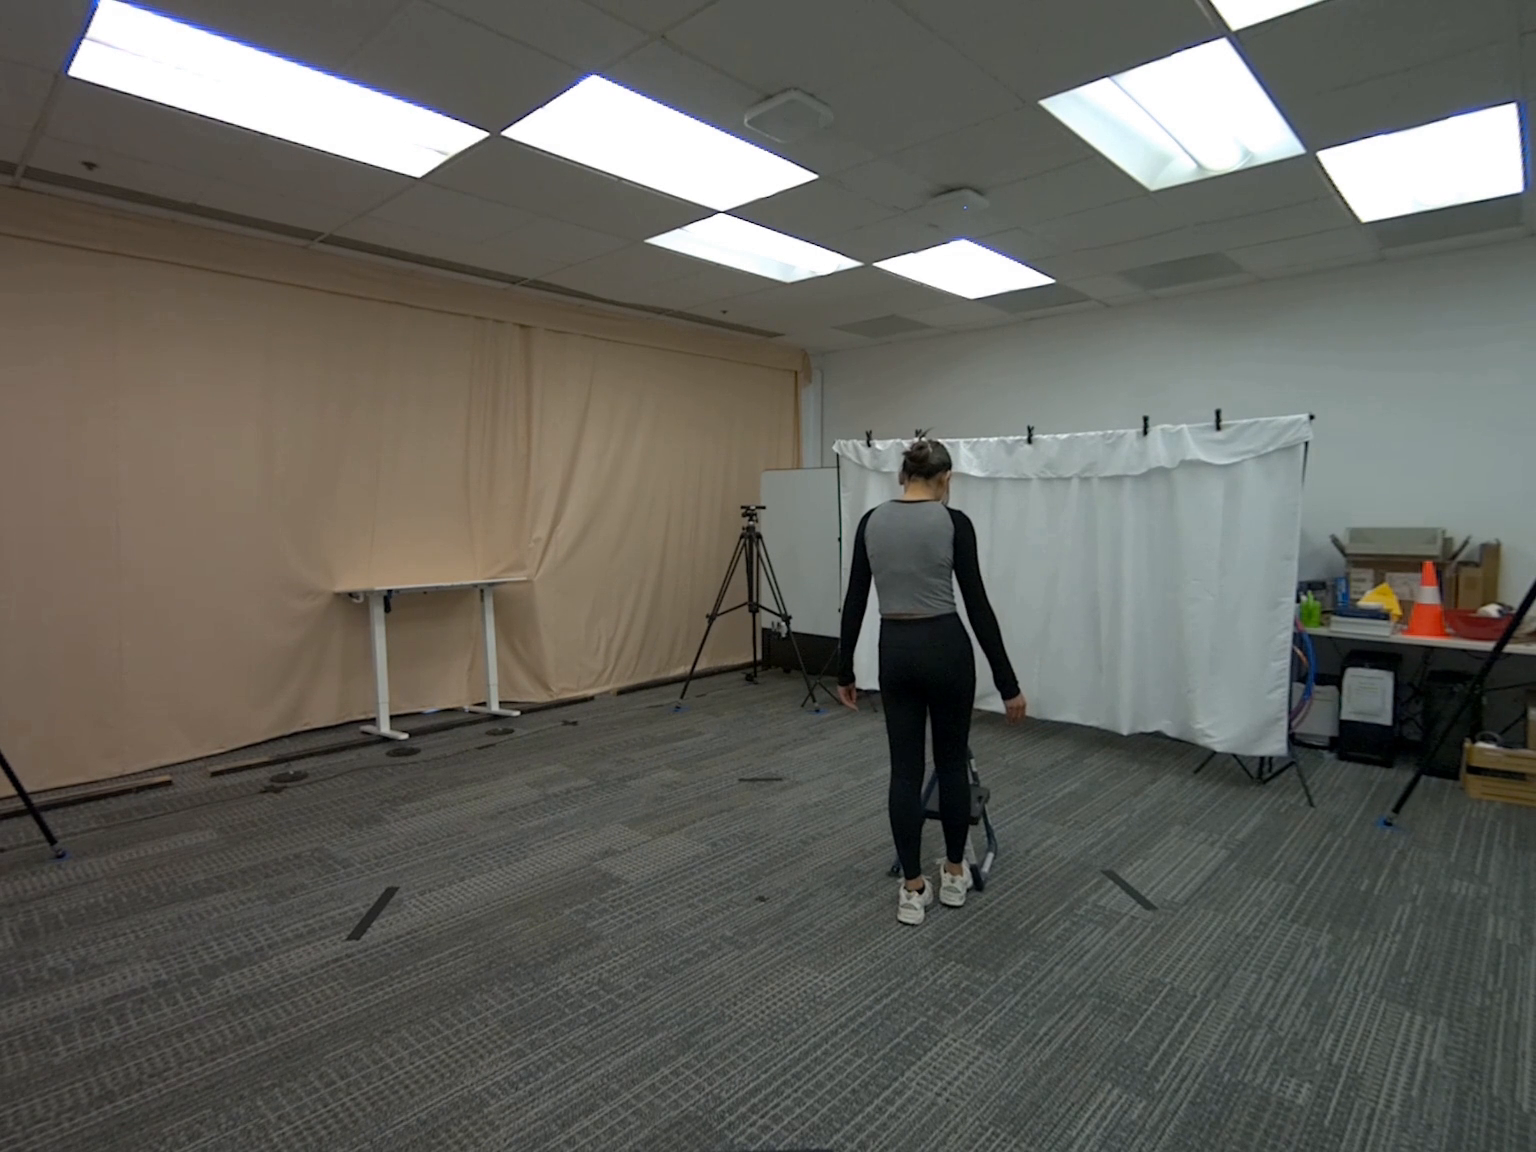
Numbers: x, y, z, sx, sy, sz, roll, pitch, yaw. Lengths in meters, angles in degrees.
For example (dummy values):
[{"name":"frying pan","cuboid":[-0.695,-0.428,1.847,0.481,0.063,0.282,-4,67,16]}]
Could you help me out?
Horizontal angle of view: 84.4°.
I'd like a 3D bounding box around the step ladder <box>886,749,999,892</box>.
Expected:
[{"name":"step ladder","cuboid":[0.697,0.817,3.273,0.358,0.604,0.421,2,4,23]}]
